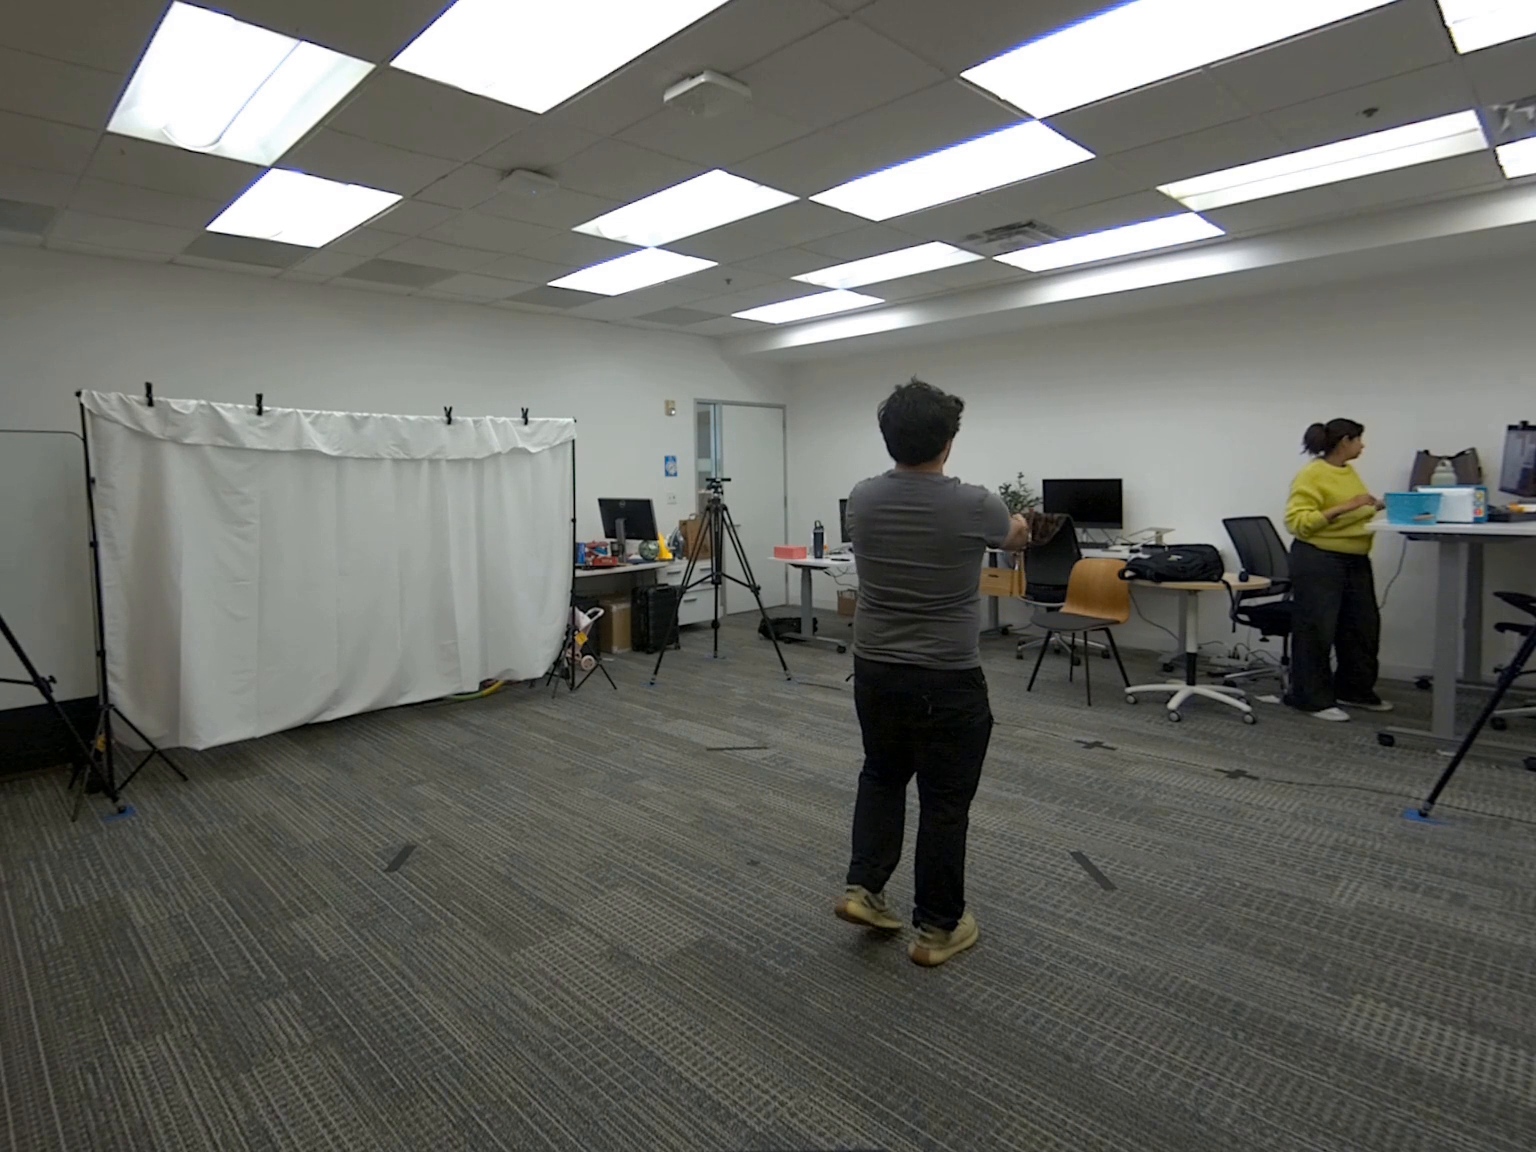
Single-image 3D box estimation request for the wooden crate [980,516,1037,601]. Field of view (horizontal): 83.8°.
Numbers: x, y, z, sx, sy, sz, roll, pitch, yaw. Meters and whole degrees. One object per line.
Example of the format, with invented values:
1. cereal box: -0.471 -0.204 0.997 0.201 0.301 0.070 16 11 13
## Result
1. wooden crate: 0.734 -0.073 2.991 0.333 0.273 0.294 4 2 27
